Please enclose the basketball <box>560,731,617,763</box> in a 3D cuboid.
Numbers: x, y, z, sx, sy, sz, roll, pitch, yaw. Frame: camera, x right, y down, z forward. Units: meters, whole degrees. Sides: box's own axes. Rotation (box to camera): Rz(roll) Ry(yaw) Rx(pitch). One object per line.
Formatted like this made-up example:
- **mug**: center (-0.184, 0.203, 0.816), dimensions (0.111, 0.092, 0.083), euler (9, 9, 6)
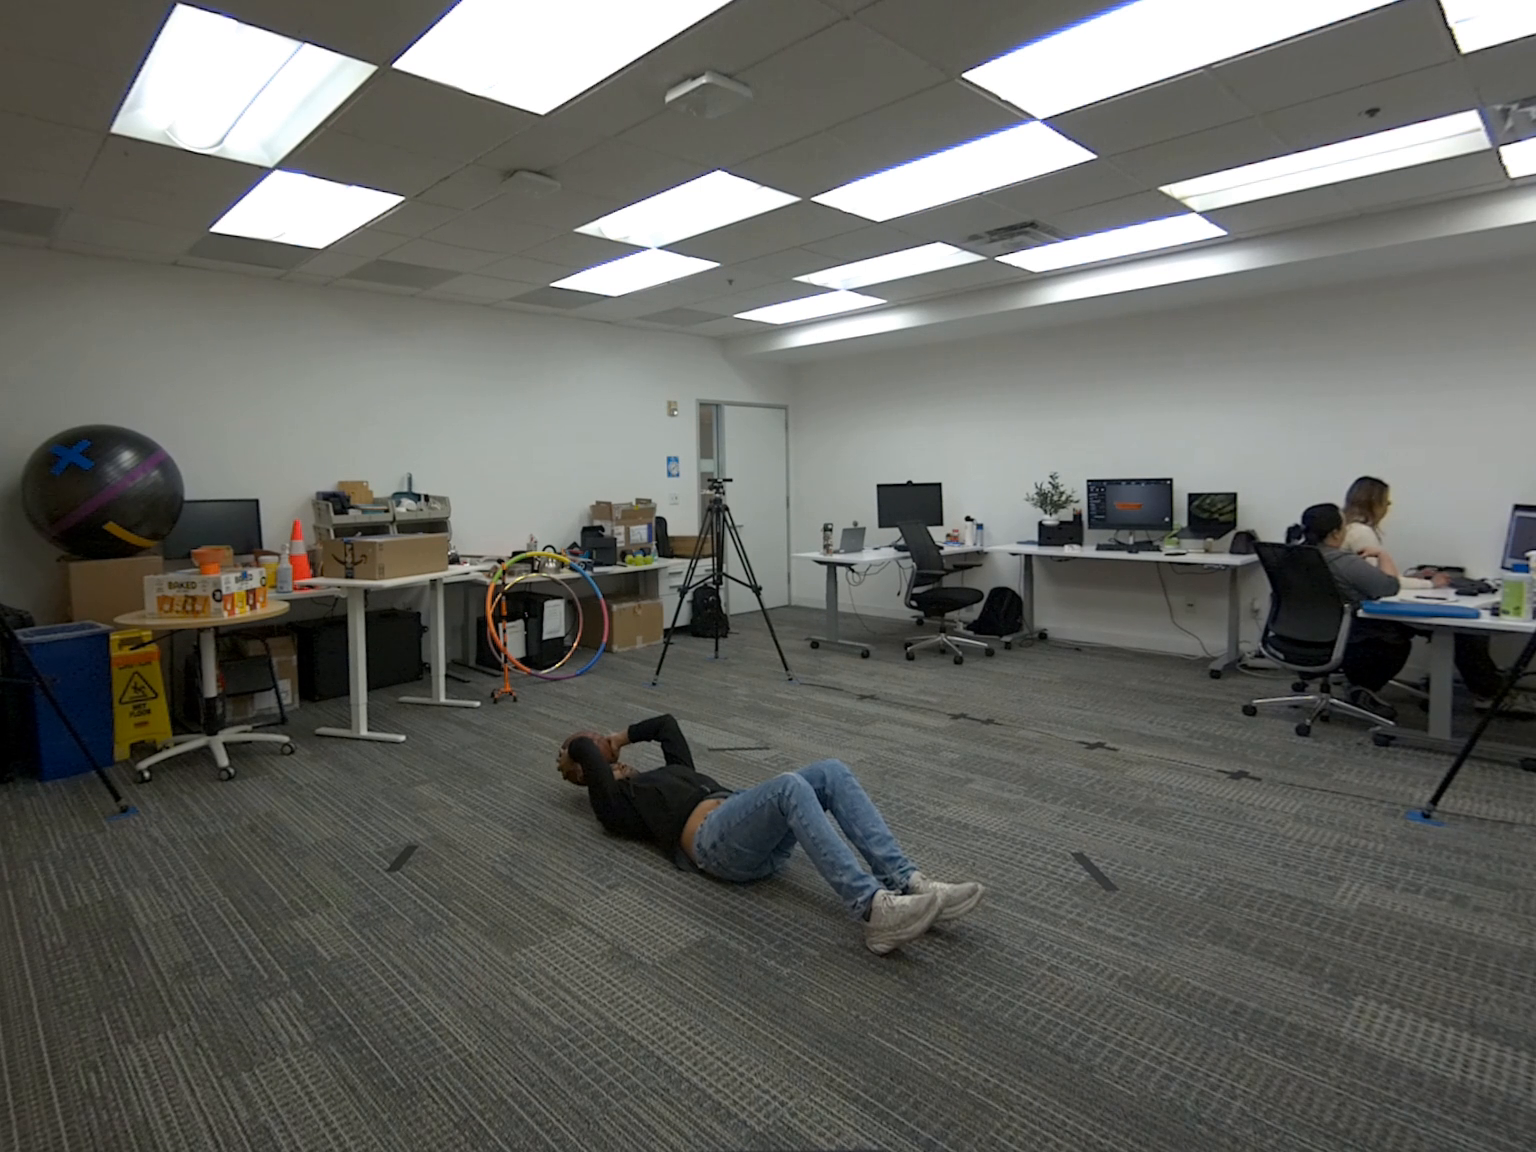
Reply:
- **basketball**: center (-0.800, 0.804, 3.790), dimensions (0.236, 0.235, 0.237), euler (-1, 5, -2)
